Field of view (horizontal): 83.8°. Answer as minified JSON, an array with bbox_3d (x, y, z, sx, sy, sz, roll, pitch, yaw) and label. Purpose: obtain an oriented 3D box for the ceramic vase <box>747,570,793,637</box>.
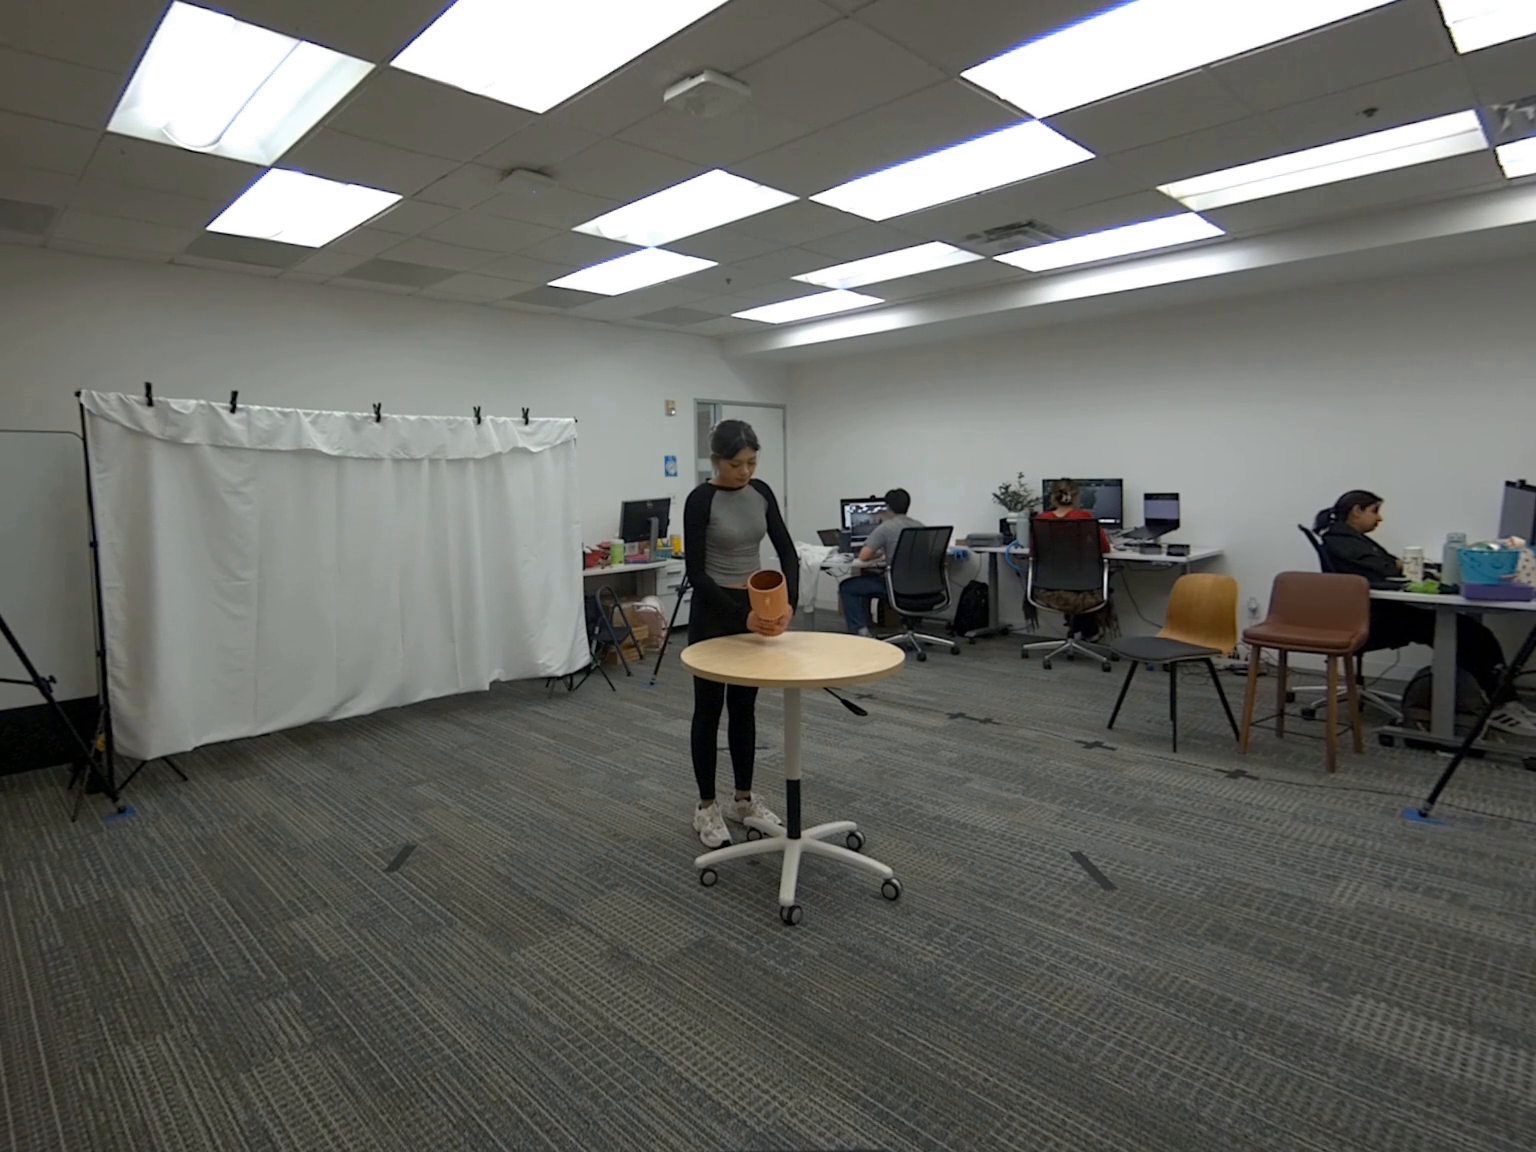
[{"bbox_3d":[0.004,0.104,3.036,0.139,0.213,0.158,20,44,37],"label":"ceramic vase"}]
